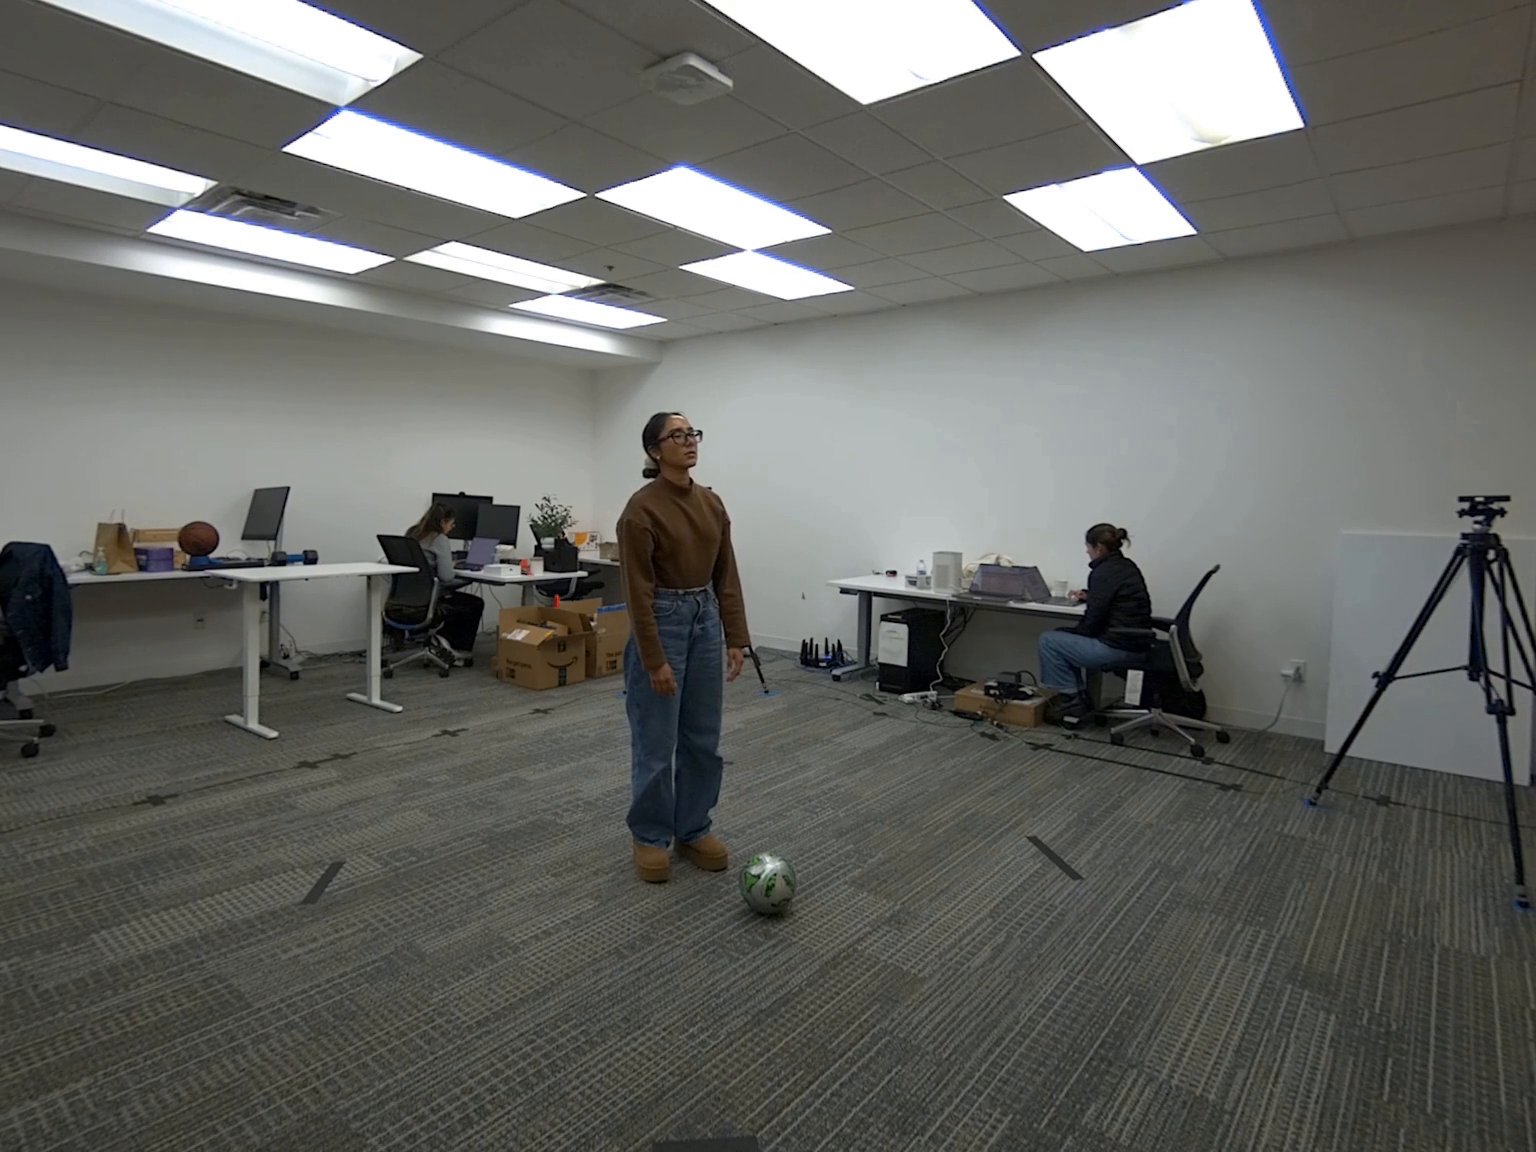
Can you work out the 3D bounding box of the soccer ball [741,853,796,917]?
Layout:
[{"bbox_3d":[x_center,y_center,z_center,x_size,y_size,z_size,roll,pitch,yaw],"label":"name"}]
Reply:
[{"bbox_3d":[-0.007,1.008,2.798,0.187,0.187,0.188,1,4,-2],"label":"soccer ball"}]
